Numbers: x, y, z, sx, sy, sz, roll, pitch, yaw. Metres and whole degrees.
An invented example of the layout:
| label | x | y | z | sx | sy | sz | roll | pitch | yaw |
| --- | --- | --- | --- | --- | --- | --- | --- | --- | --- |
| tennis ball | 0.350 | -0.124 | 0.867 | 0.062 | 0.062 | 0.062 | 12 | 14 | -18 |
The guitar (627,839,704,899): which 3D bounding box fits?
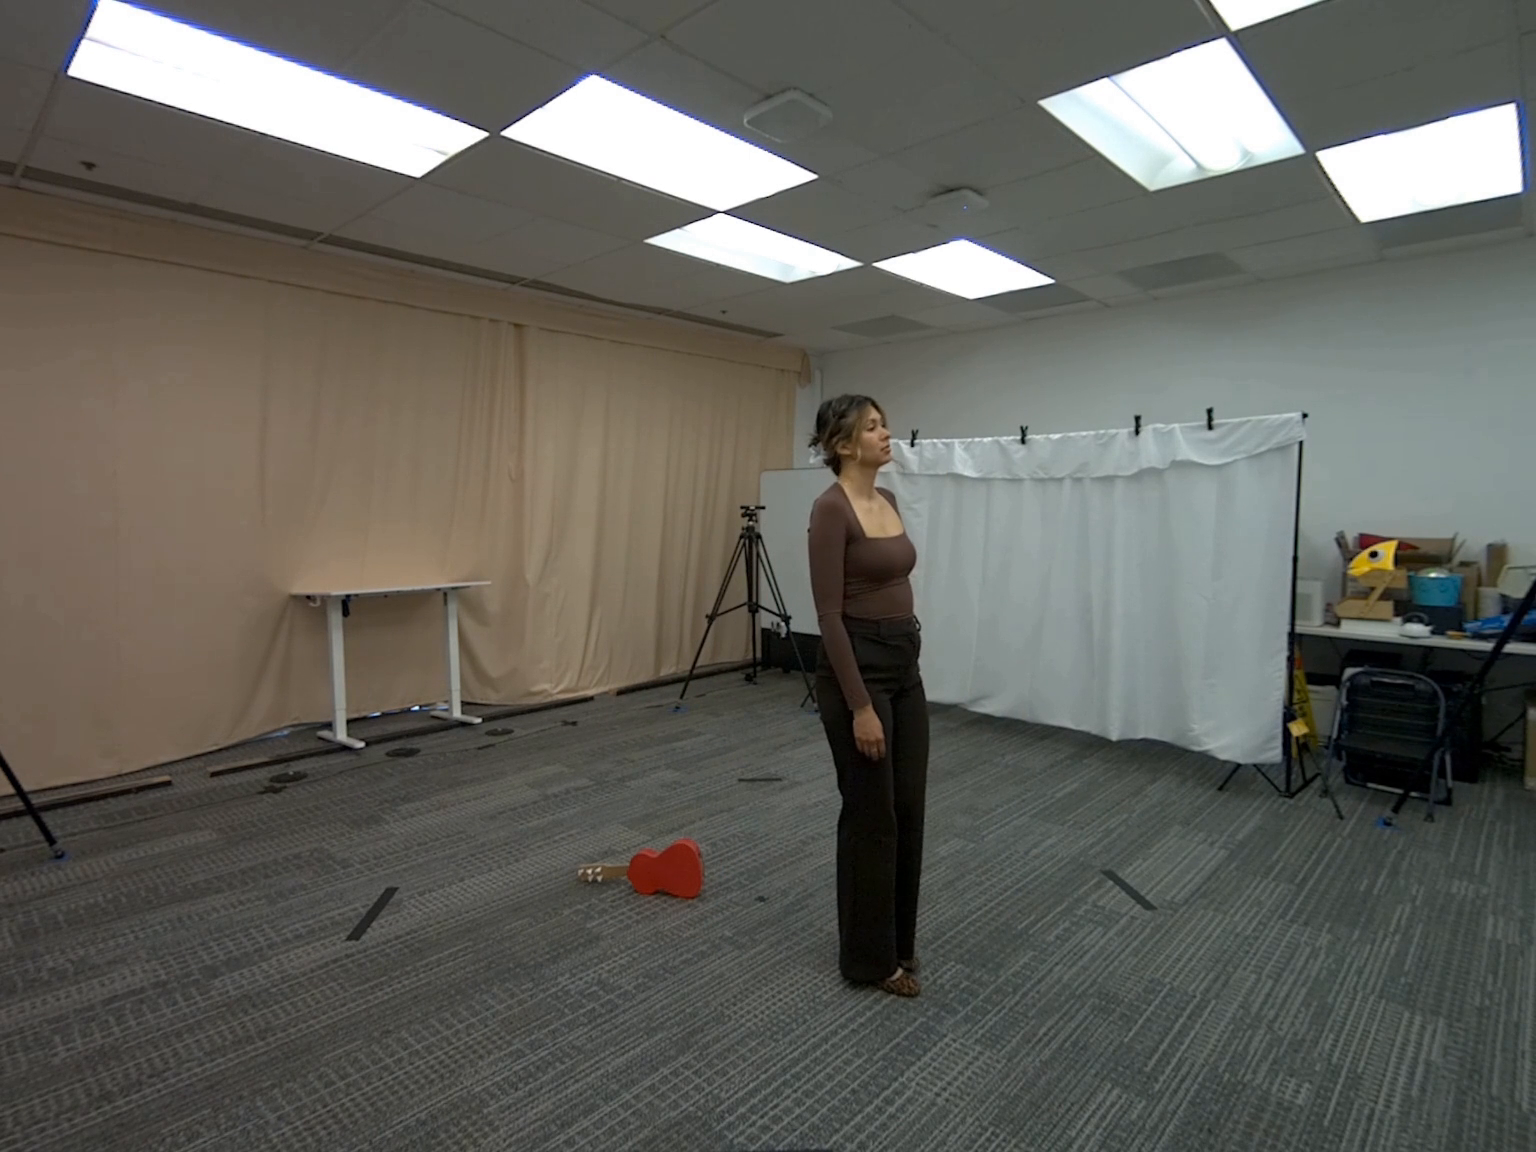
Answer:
| label | x | y | z | sx | sy | sz | roll | pitch | yaw |
| --- | --- | --- | --- | --- | --- | --- | --- | --- | --- |
| guitar | -0.462 | 1.092 | 3.063 | 0.504 | 0.193 | 0.069 | -18 | -3 | 15 |
